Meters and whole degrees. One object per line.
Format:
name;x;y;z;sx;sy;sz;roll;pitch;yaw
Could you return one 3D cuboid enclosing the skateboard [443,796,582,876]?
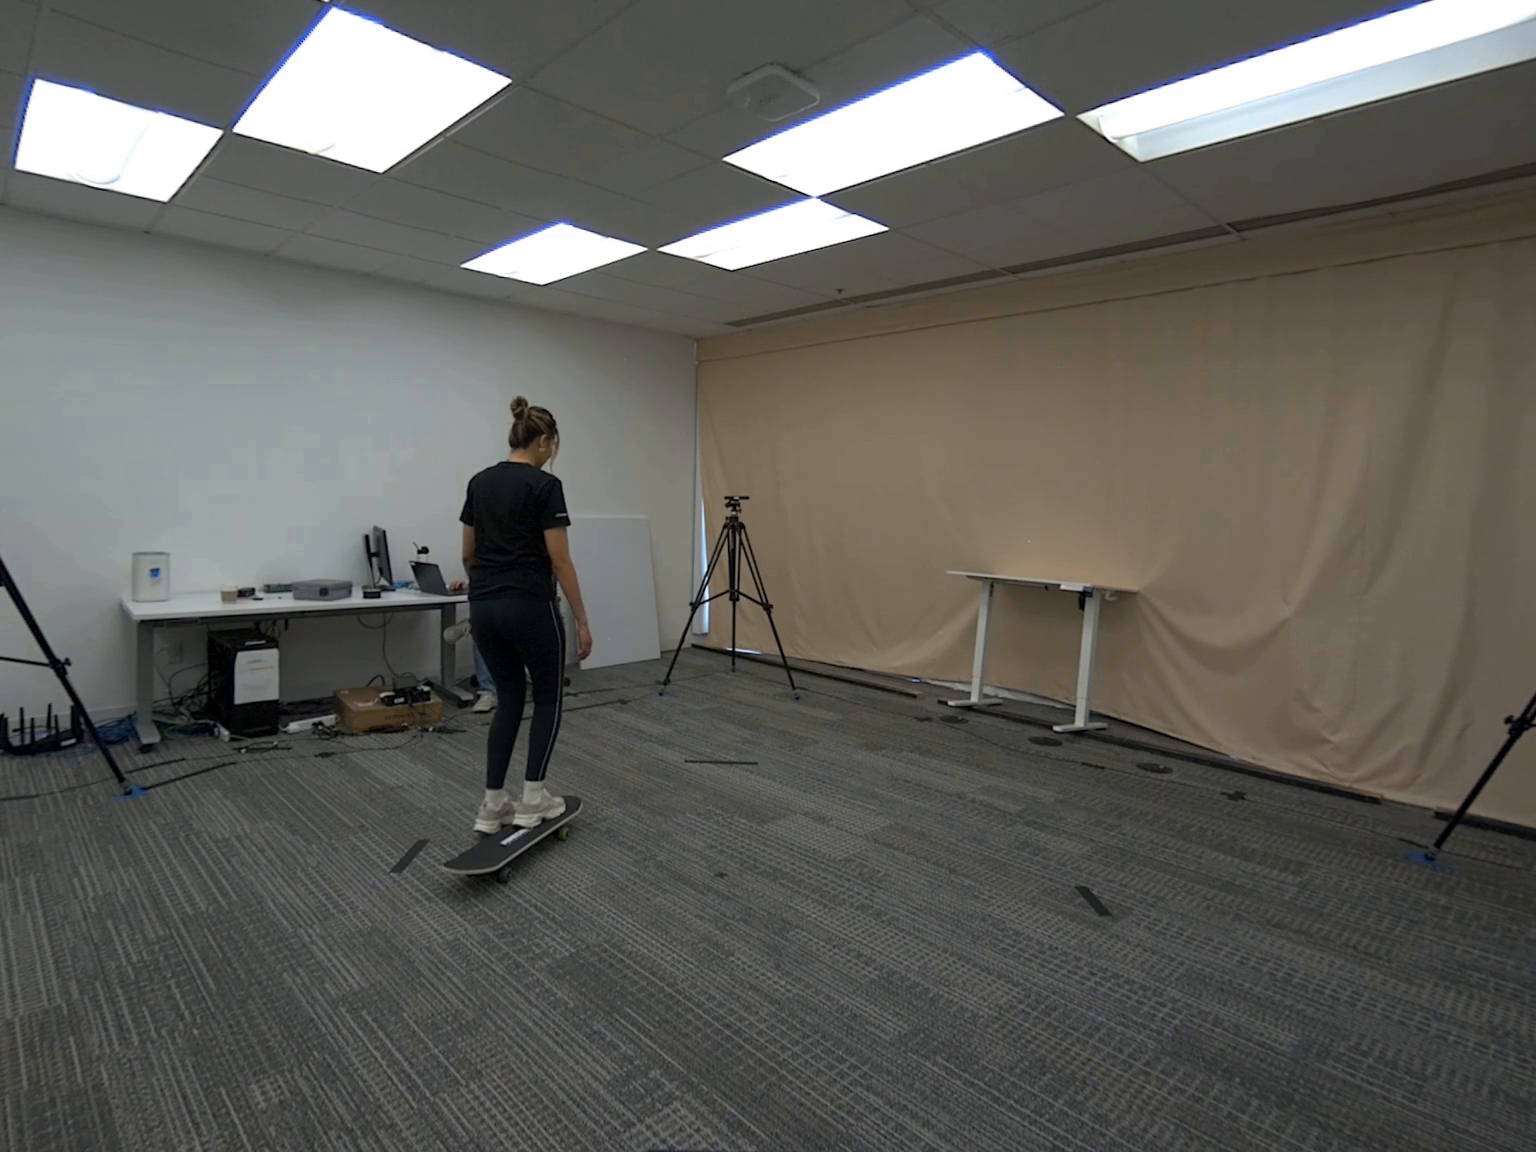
skateboard;-0.957;1.012;3.226;0.196;0.110;0.776;1;4;16
